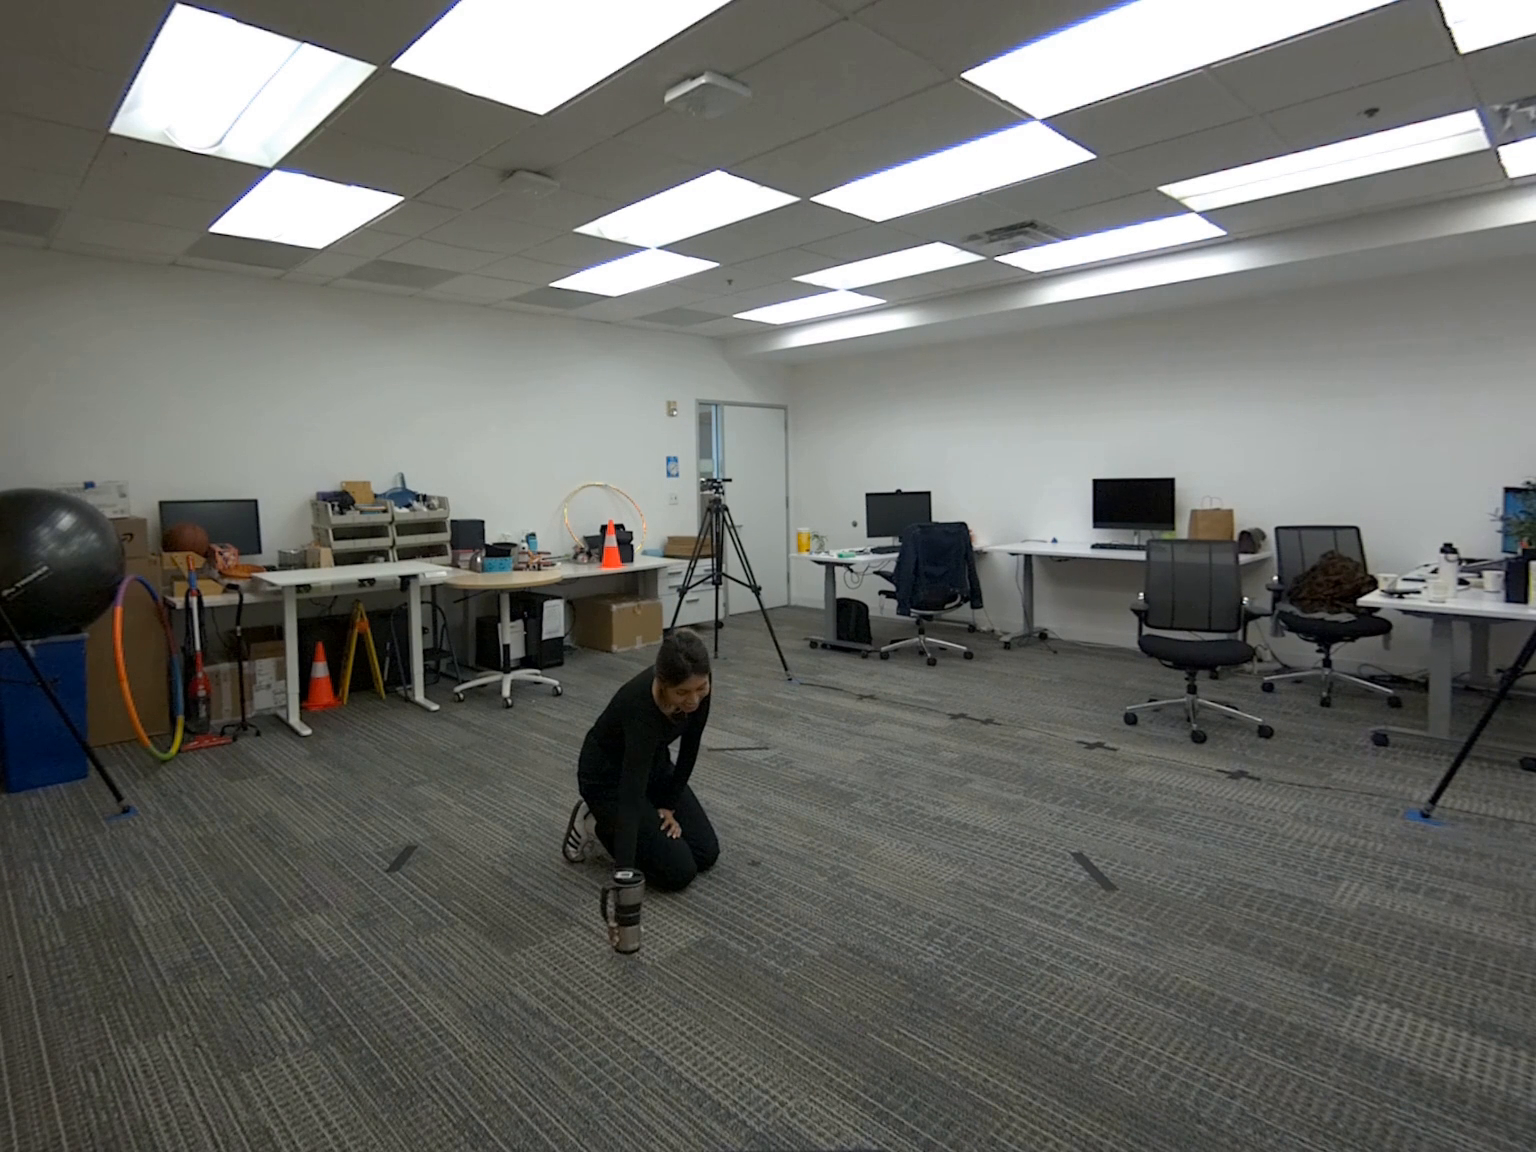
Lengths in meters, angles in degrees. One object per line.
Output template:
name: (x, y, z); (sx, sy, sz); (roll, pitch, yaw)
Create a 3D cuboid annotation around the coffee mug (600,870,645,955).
coffee mug: (-0.387, 0.917, 2.316); (0.120, 0.203, 0.089); (3, 1, -12)
